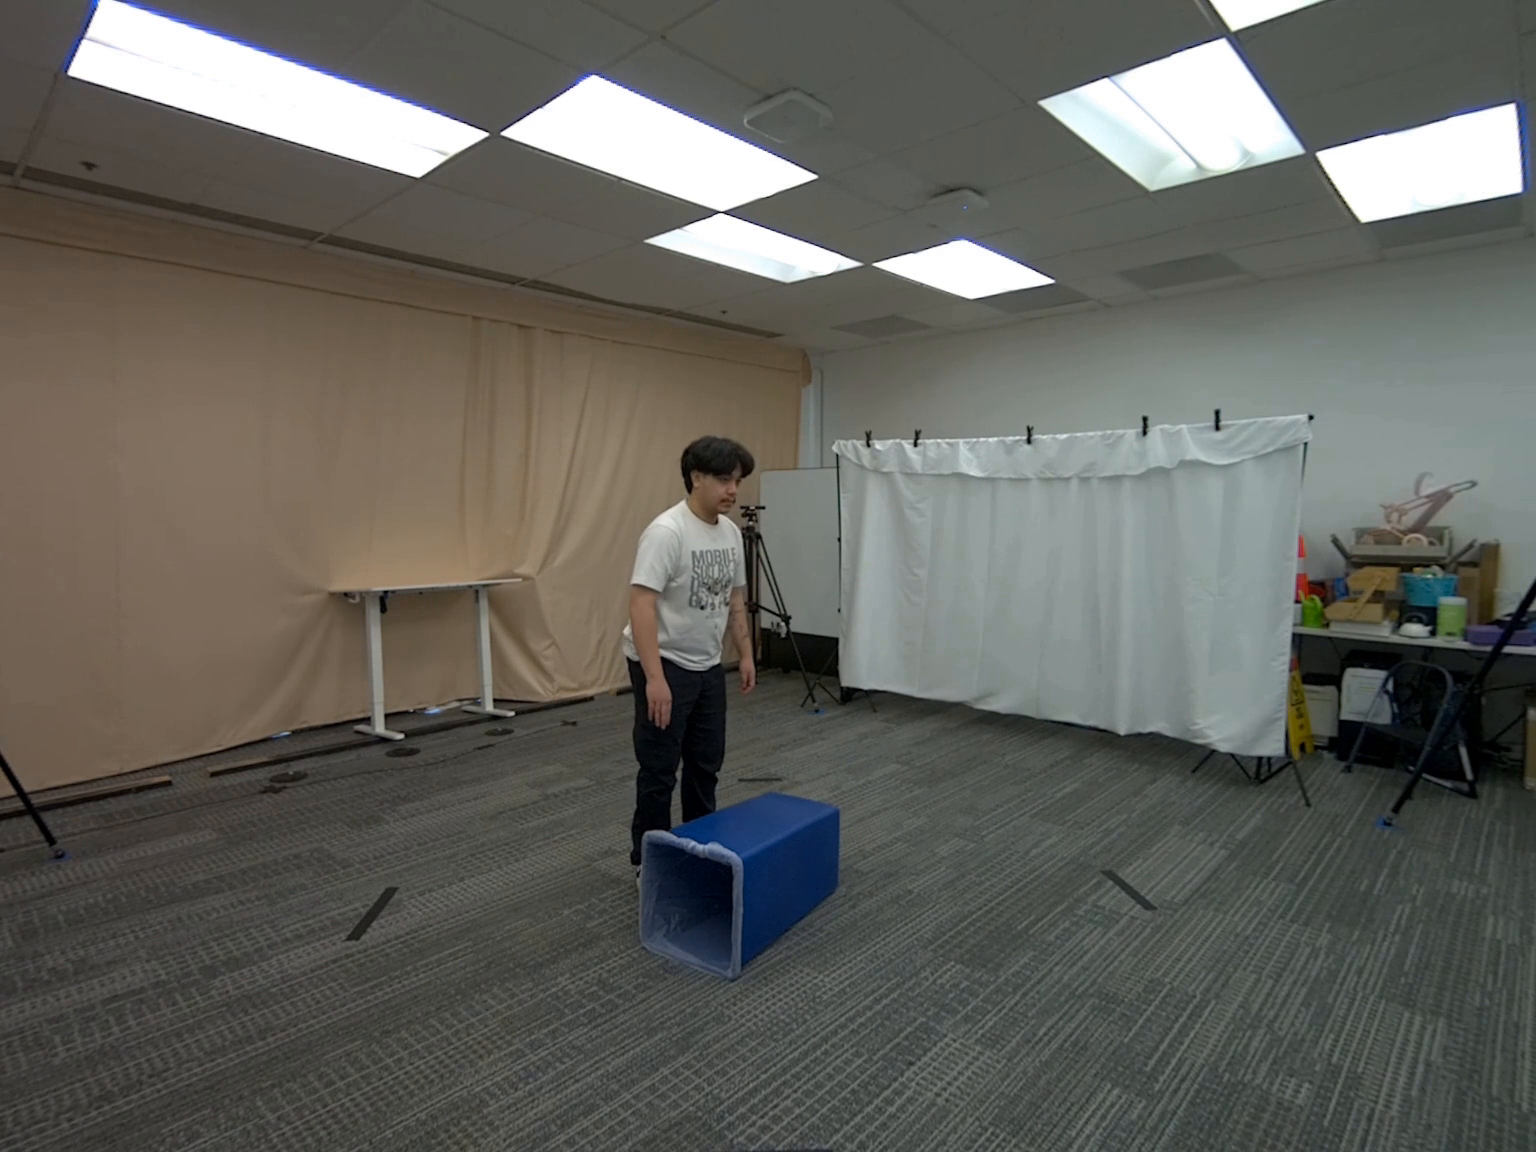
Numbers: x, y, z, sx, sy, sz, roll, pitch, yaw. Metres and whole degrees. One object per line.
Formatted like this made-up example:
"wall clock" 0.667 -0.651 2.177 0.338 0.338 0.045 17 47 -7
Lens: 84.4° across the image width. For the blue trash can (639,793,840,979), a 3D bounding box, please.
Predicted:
"blue trash can" -0.050 0.994 2.838 0.389 0.374 0.692 1 1 33
